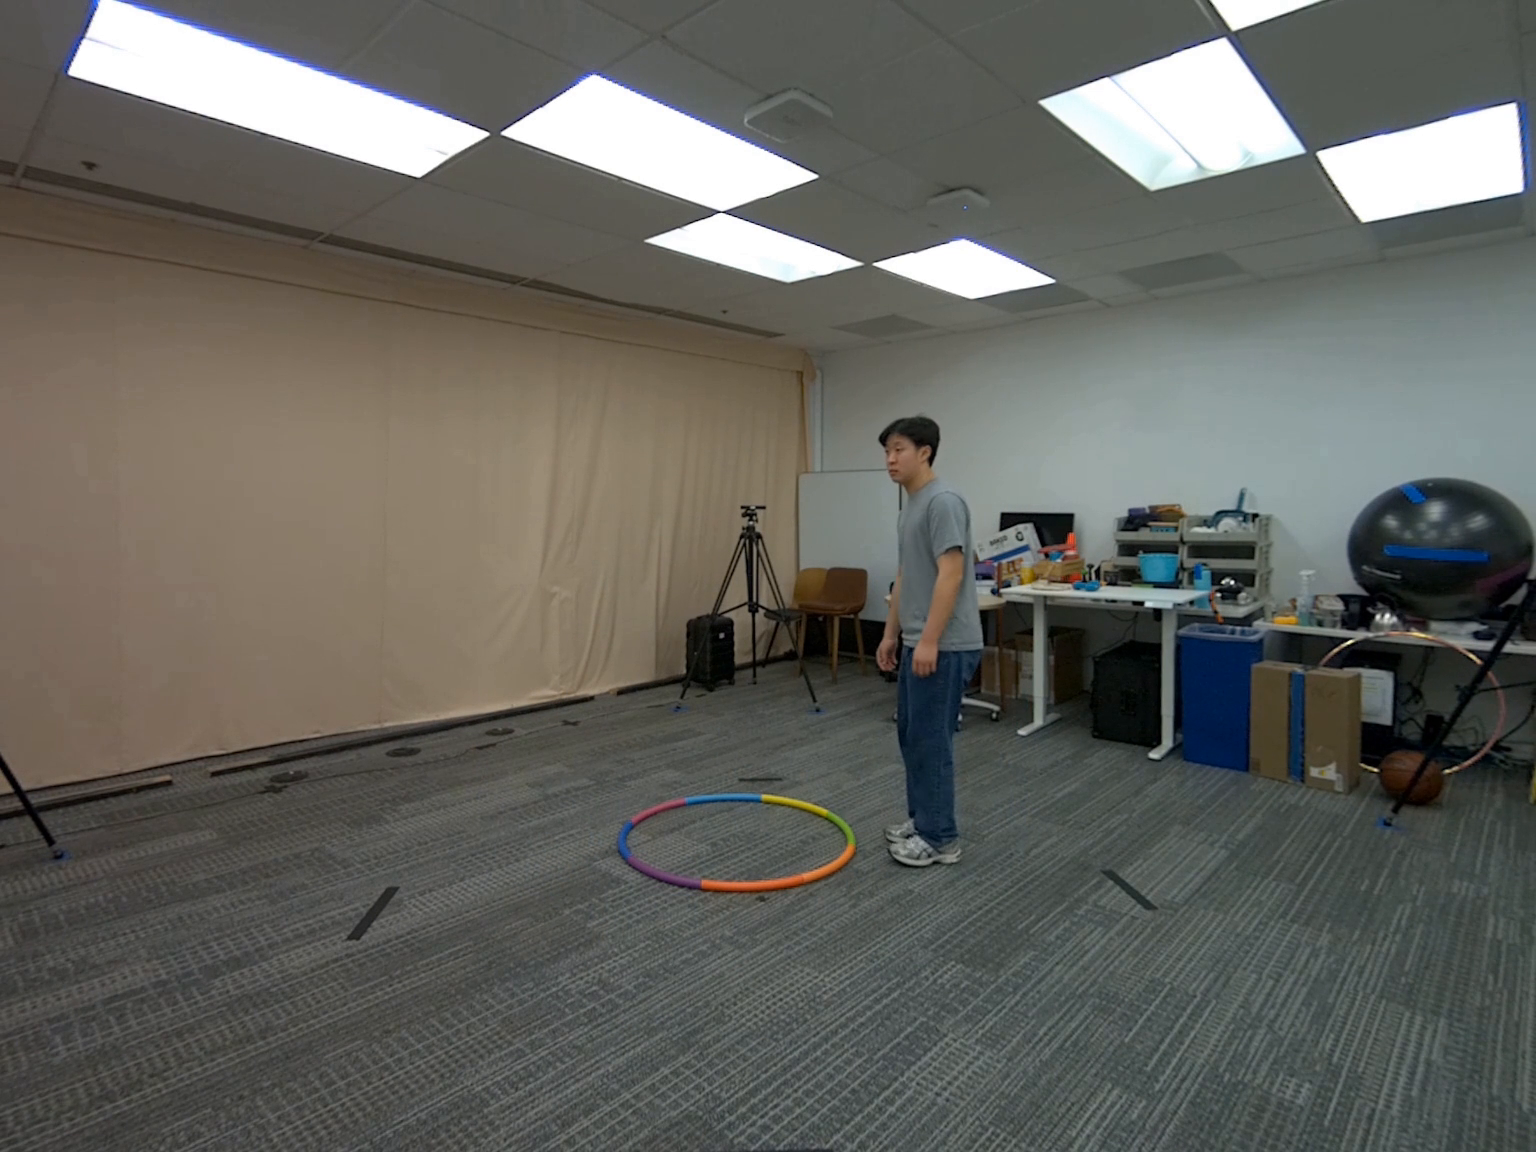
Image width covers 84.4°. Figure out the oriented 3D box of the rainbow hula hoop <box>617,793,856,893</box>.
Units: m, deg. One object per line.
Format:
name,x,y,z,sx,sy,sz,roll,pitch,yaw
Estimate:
rainbow hula hoop,-0.130,1.069,3.506,0.978,0.035,0.982,-1,5,-2
